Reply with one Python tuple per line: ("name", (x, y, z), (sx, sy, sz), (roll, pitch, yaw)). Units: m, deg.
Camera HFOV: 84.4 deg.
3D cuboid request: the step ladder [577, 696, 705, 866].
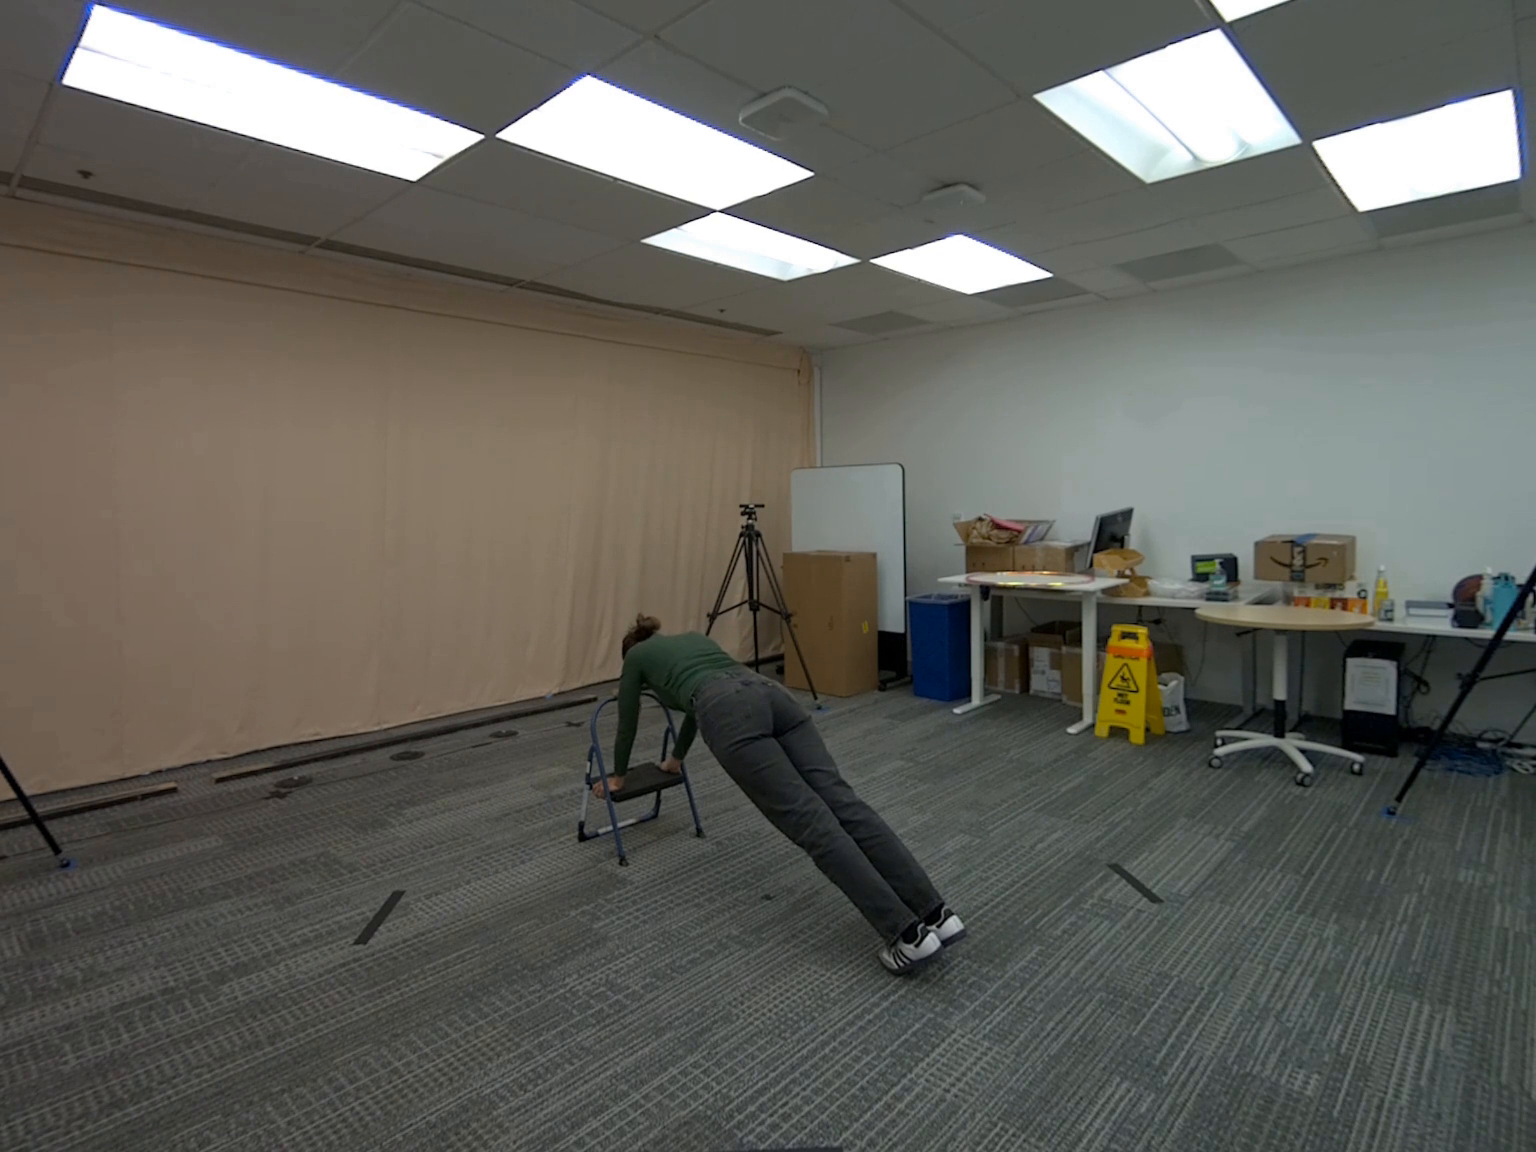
("step ladder", (-0.539, 0.805, 3.524), (0.417, 0.605, 0.361), (-4, 4, -43))
